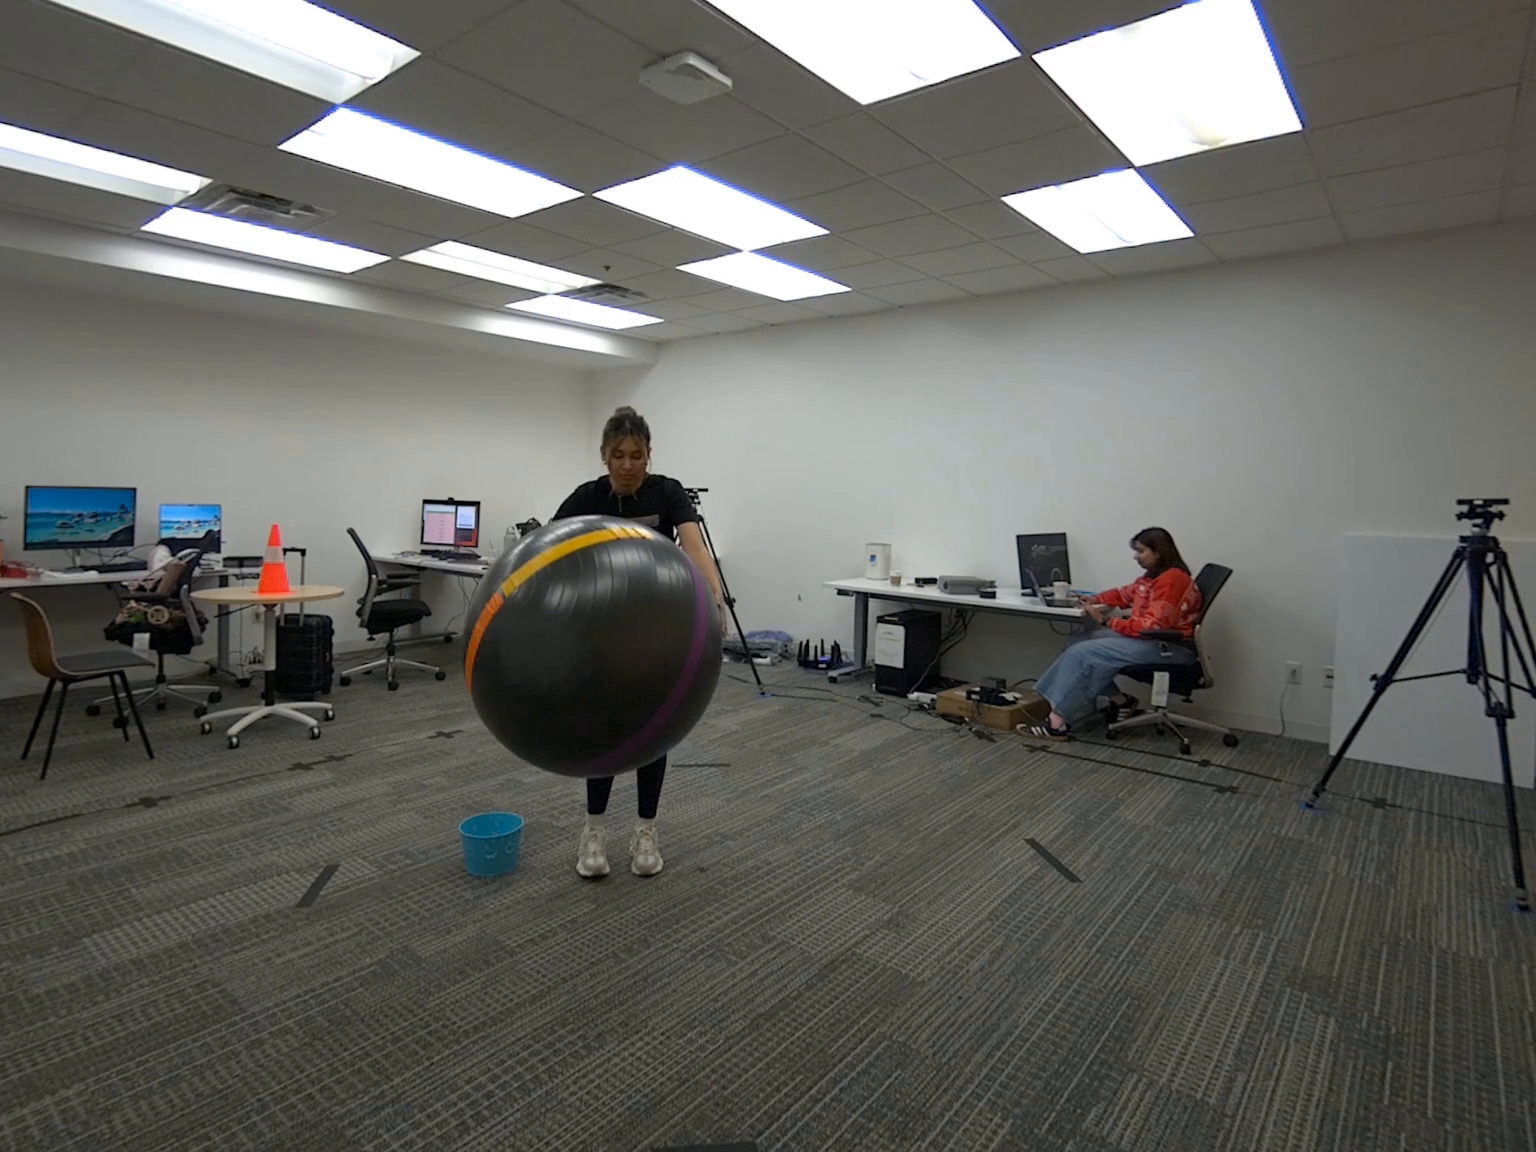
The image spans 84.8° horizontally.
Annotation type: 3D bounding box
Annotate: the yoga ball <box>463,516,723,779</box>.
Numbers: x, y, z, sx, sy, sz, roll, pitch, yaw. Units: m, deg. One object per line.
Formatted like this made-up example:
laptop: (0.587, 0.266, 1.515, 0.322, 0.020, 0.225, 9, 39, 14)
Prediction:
yoga ball: (-0.518, 0.203, 2.492, 0.757, 0.756, 0.762, 1, 4, -2)
